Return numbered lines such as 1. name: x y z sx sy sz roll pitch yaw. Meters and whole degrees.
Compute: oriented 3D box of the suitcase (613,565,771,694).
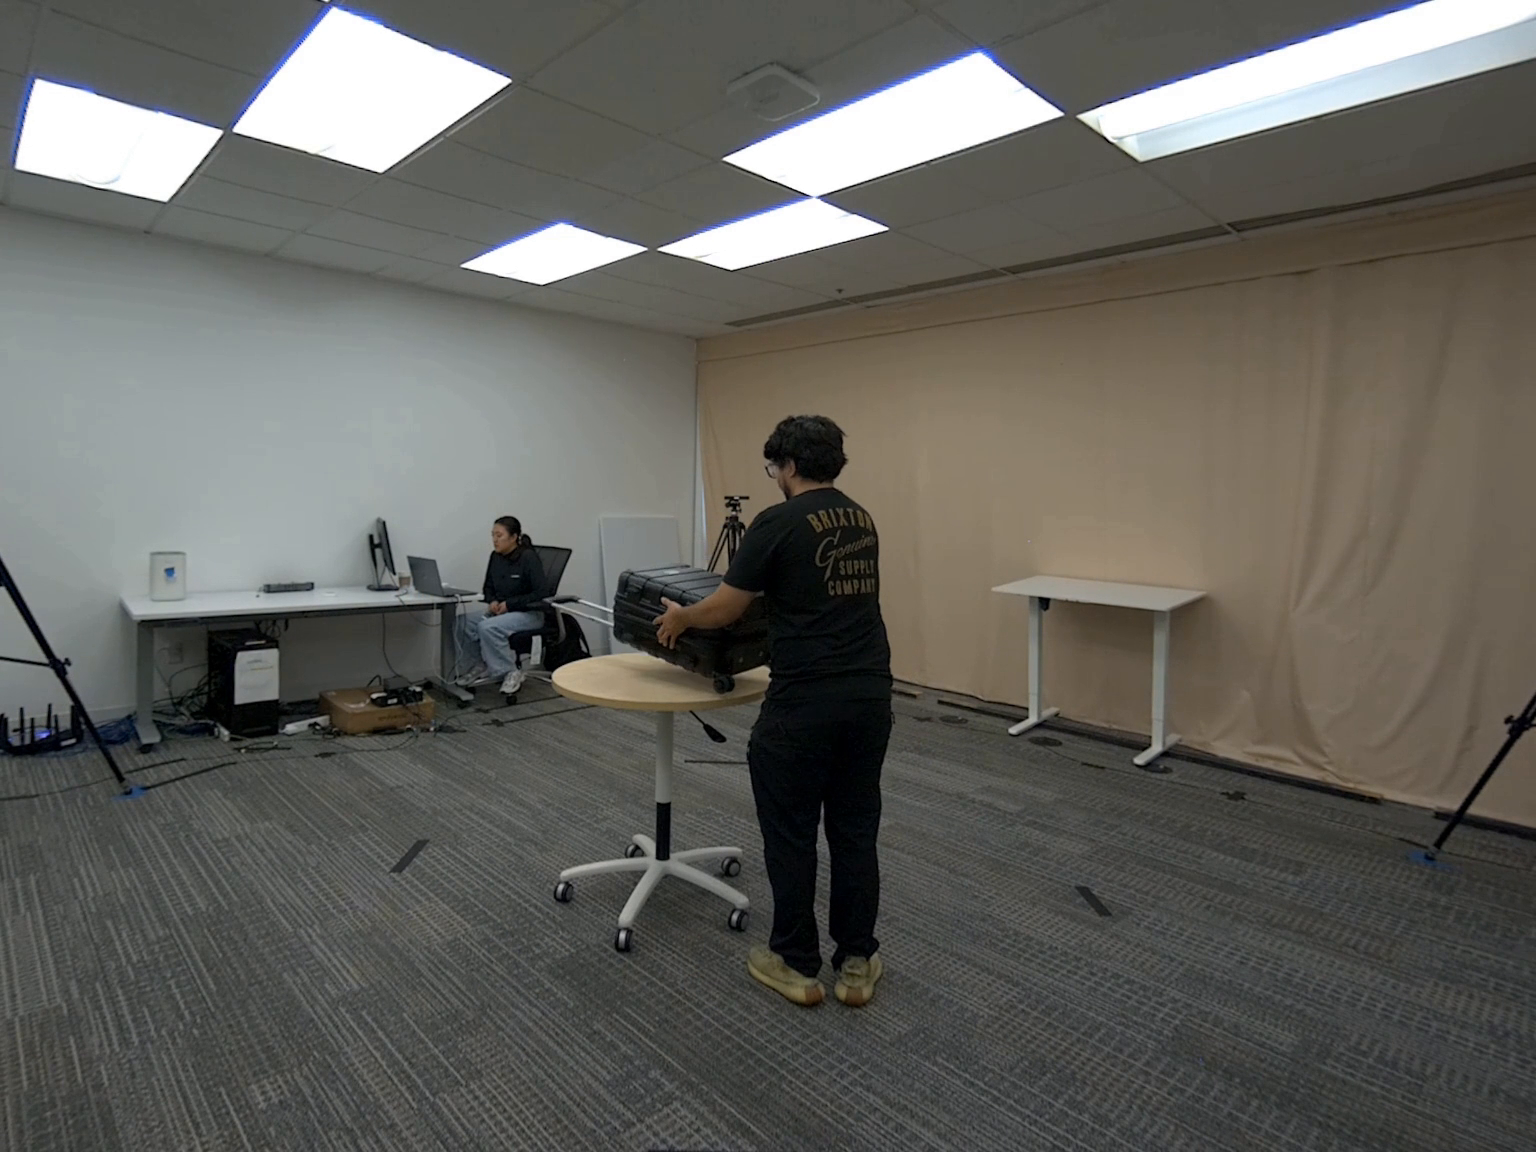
1. suitcase: -0.394 0.093 2.934 1.006 0.255 0.376 18 16 36
